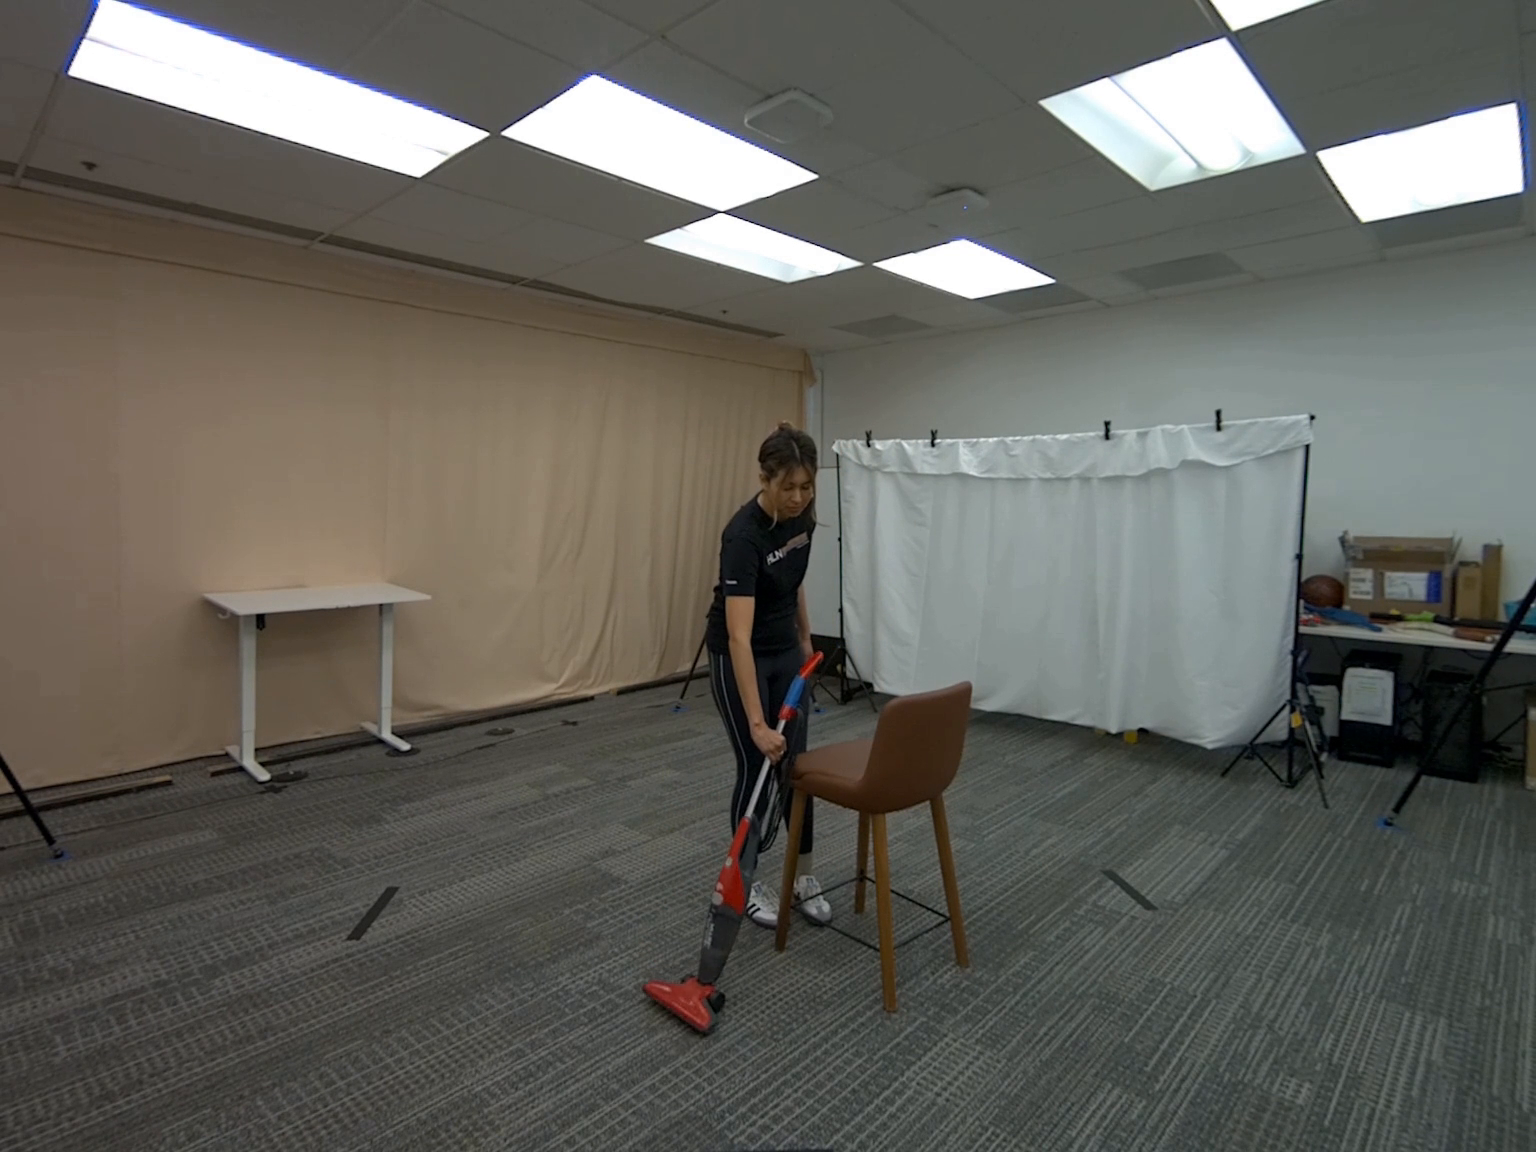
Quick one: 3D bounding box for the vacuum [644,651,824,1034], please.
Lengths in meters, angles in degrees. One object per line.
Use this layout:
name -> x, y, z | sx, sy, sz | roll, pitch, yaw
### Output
vacuum -> -0.030, 0.711, 2.453 | 0.261, 1.051, 0.139 | 8, -20, 45
